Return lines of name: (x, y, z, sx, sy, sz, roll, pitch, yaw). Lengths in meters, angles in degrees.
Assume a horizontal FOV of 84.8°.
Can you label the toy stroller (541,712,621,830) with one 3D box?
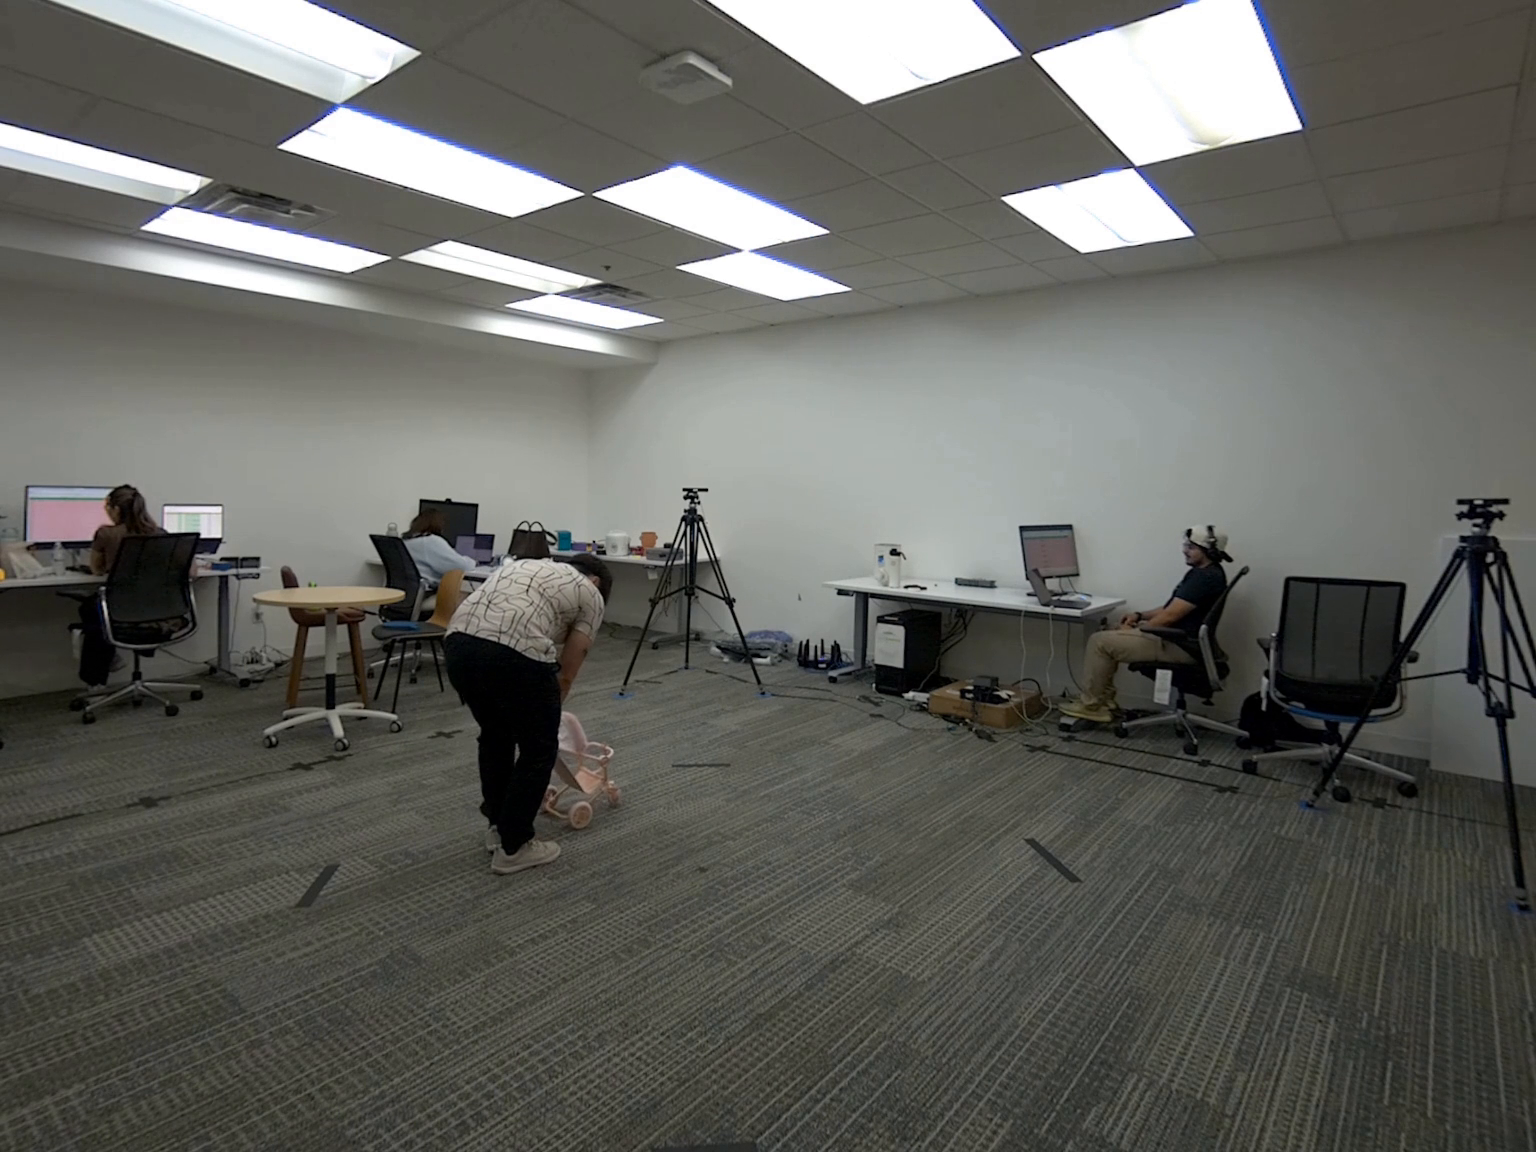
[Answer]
toy stroller: (-0.827, 0.791, 3.571, 0.336, 0.525, 0.291, -27, 20, -35)
